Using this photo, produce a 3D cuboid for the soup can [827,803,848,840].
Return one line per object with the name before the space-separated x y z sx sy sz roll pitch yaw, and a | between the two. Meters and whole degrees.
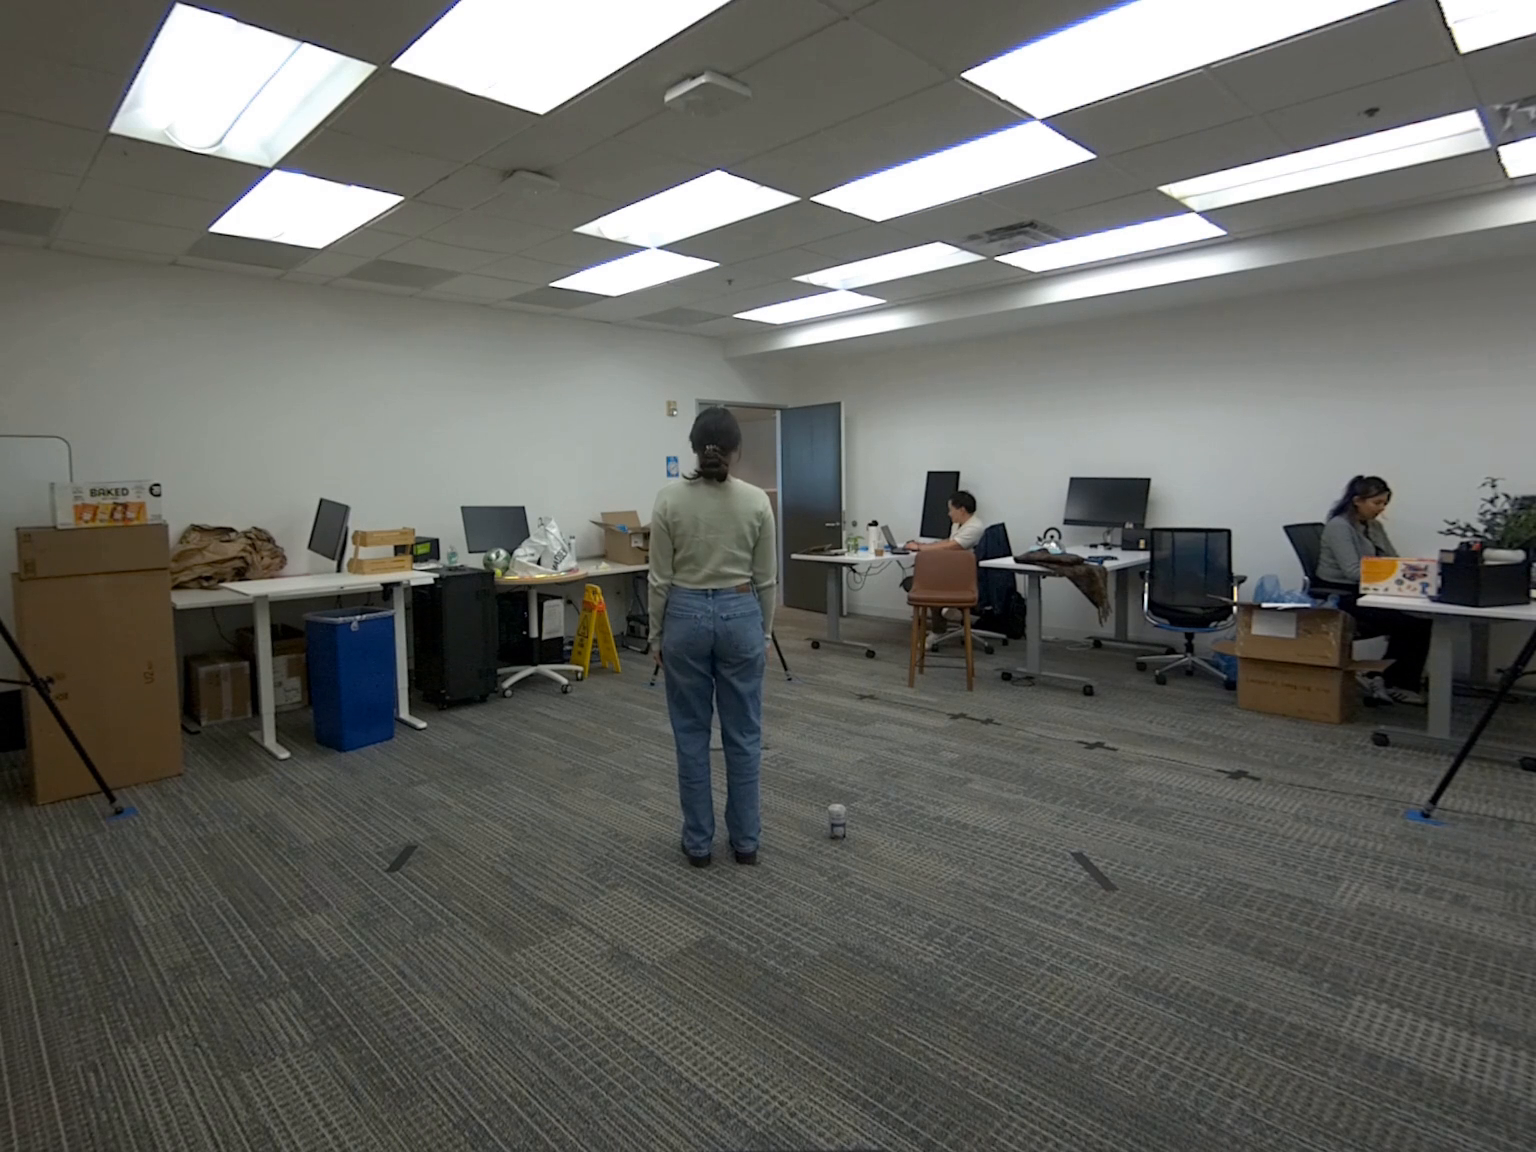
soup can | 0.272 0.958 3.315 0.067 0.121 0.067 -2 5 -1
